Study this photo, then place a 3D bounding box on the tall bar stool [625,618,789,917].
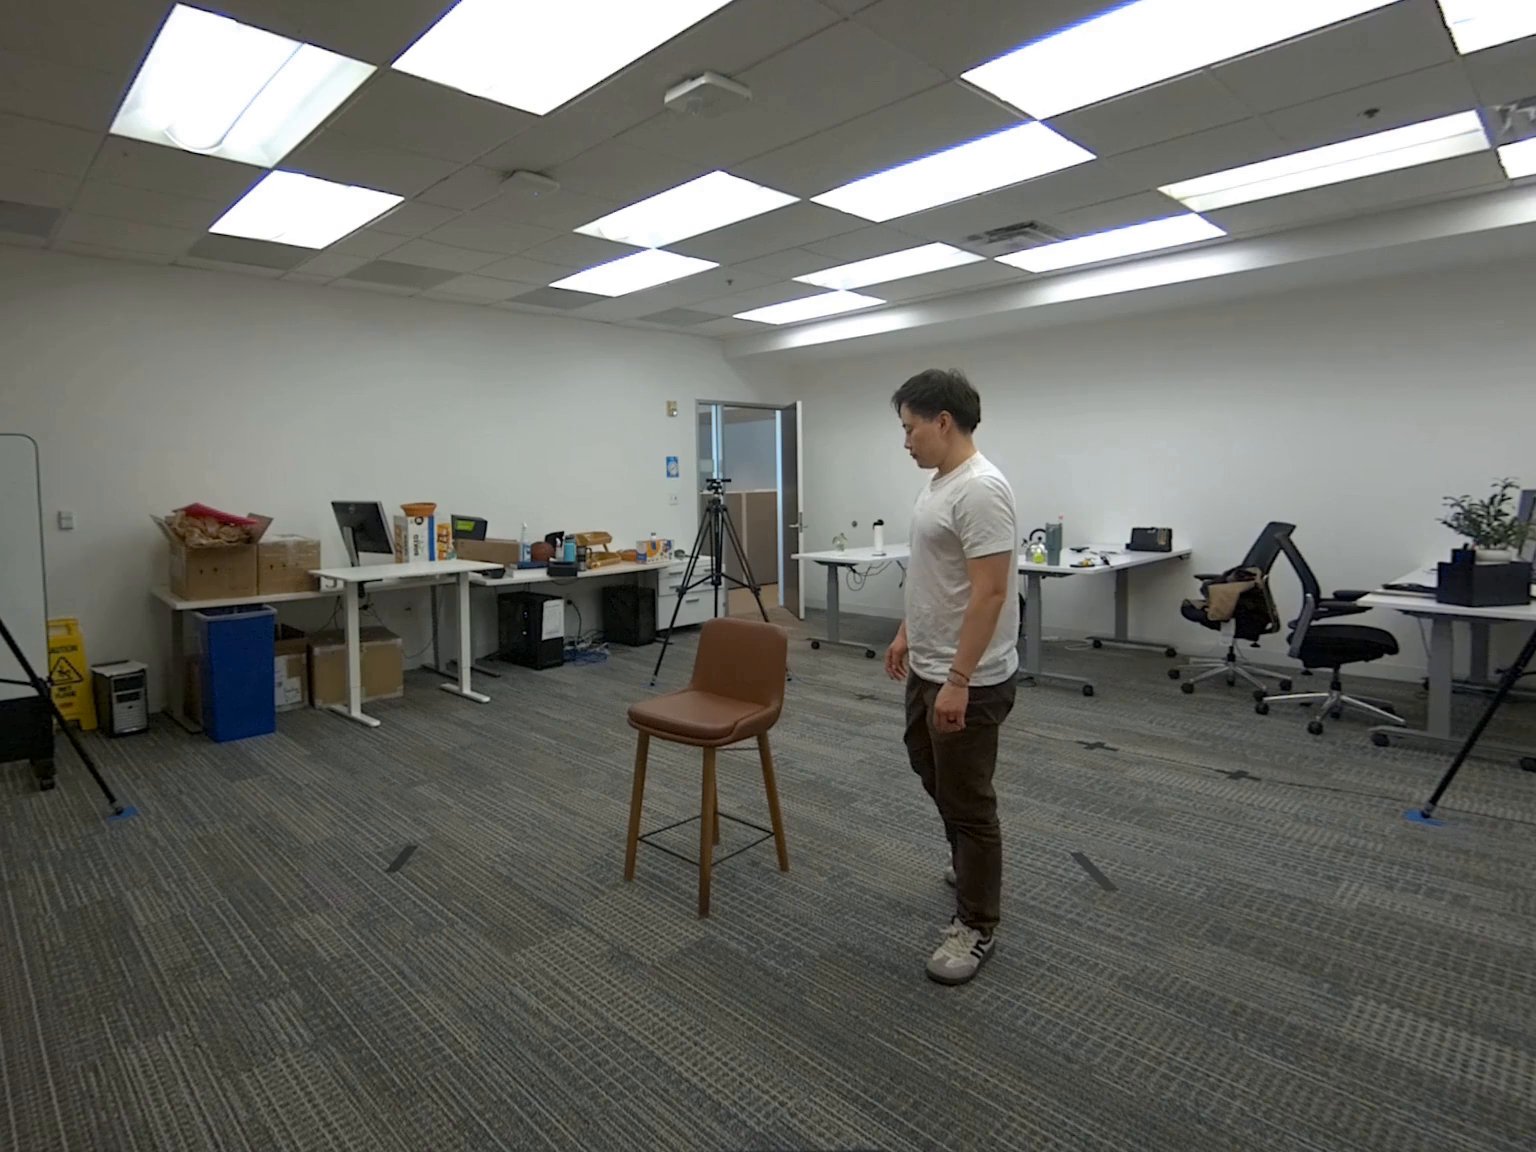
[{"bbox_3d":[-0.213,0.625,2.998,0.470,0.888,0.454,4,4,43],"label":"tall bar stool"}]
